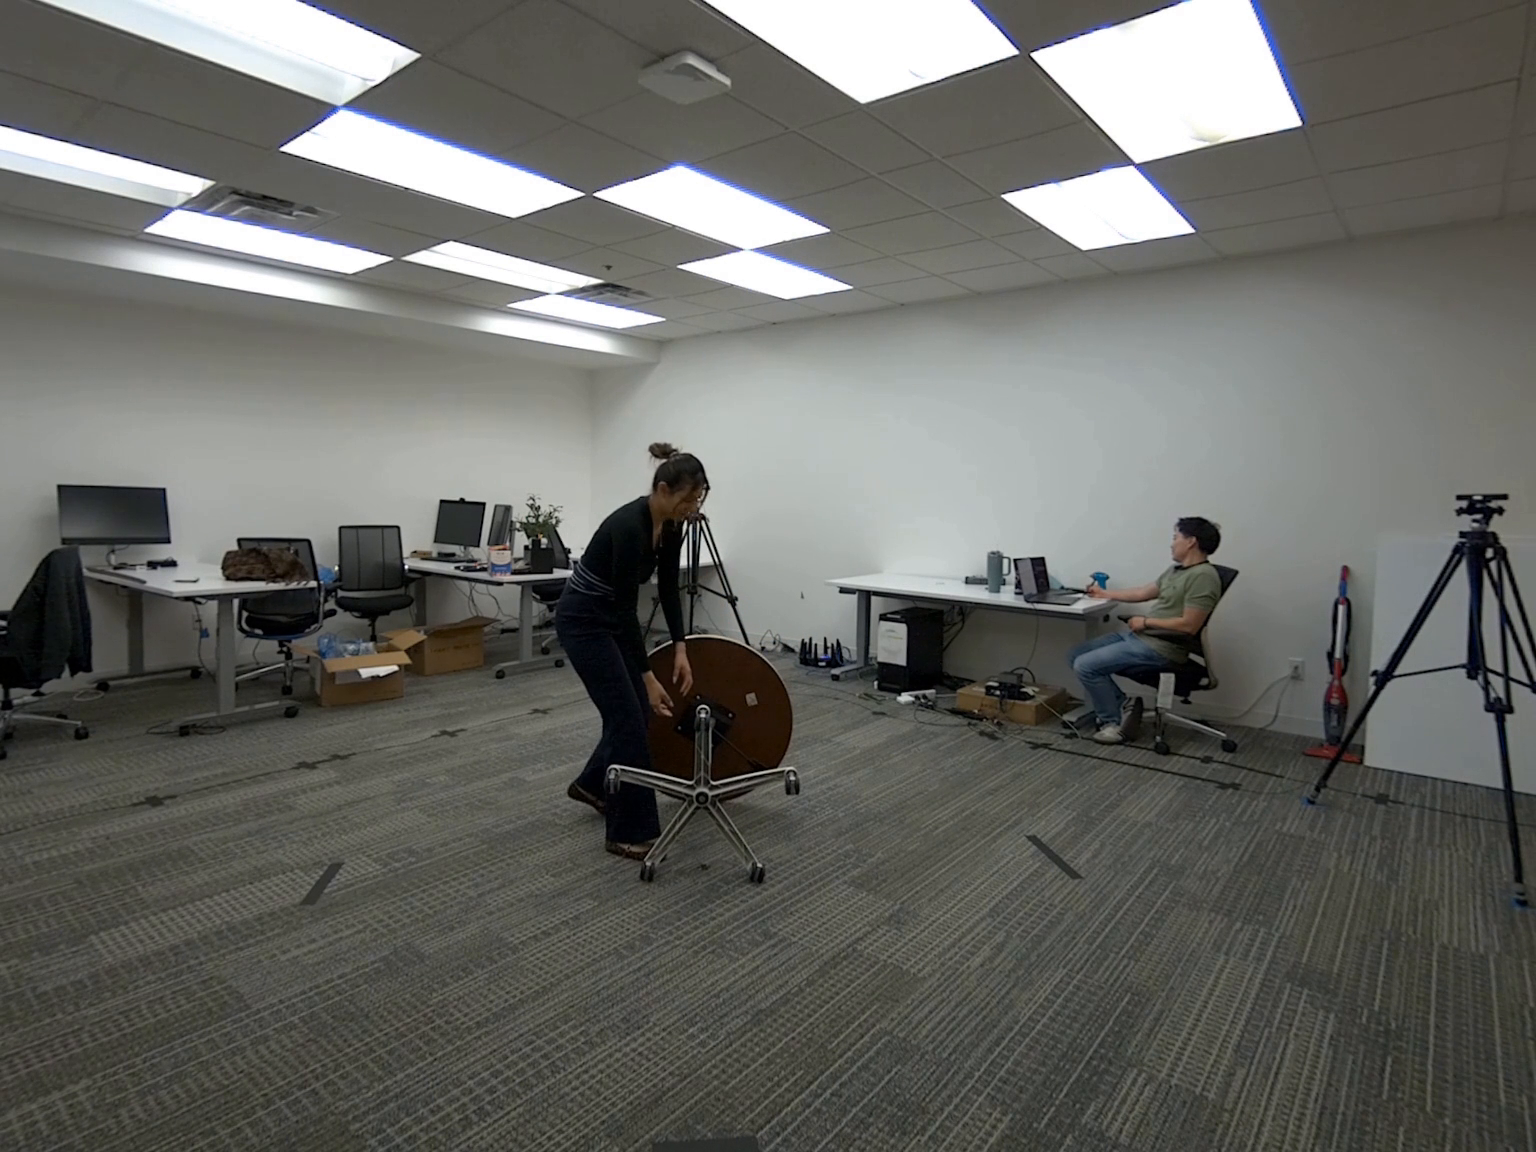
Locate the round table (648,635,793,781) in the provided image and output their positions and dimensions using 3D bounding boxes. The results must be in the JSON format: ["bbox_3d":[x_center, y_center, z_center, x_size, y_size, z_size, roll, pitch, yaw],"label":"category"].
[{"bbox_3d":[-0.263,0.716,3.315,0.764,0.756,0.803,1,11,-1],"label":"round table"}]
